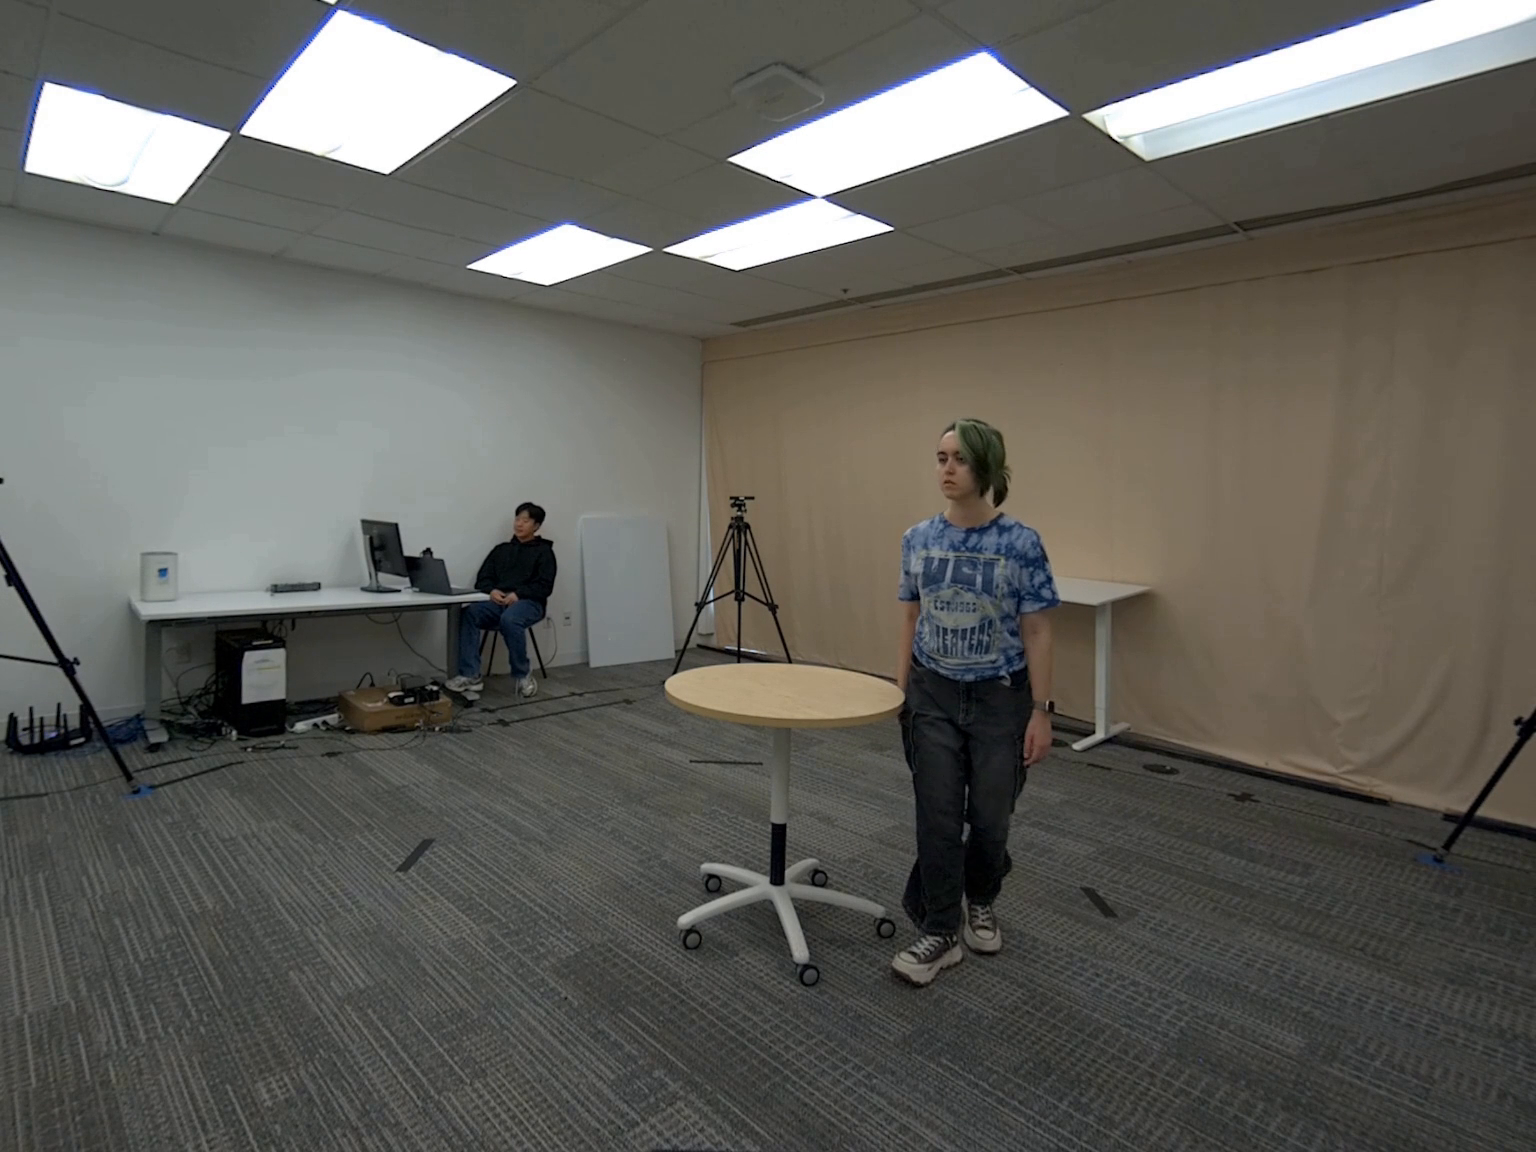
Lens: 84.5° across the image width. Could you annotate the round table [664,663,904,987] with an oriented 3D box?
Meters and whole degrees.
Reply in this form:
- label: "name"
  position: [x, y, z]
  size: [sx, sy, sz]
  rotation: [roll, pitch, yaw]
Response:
- label: "round table"
  position: [0.032, 0.753, 2.732]
  size: [0.763, 0.792, 0.767]
  rotation: [2, 4, -2]
